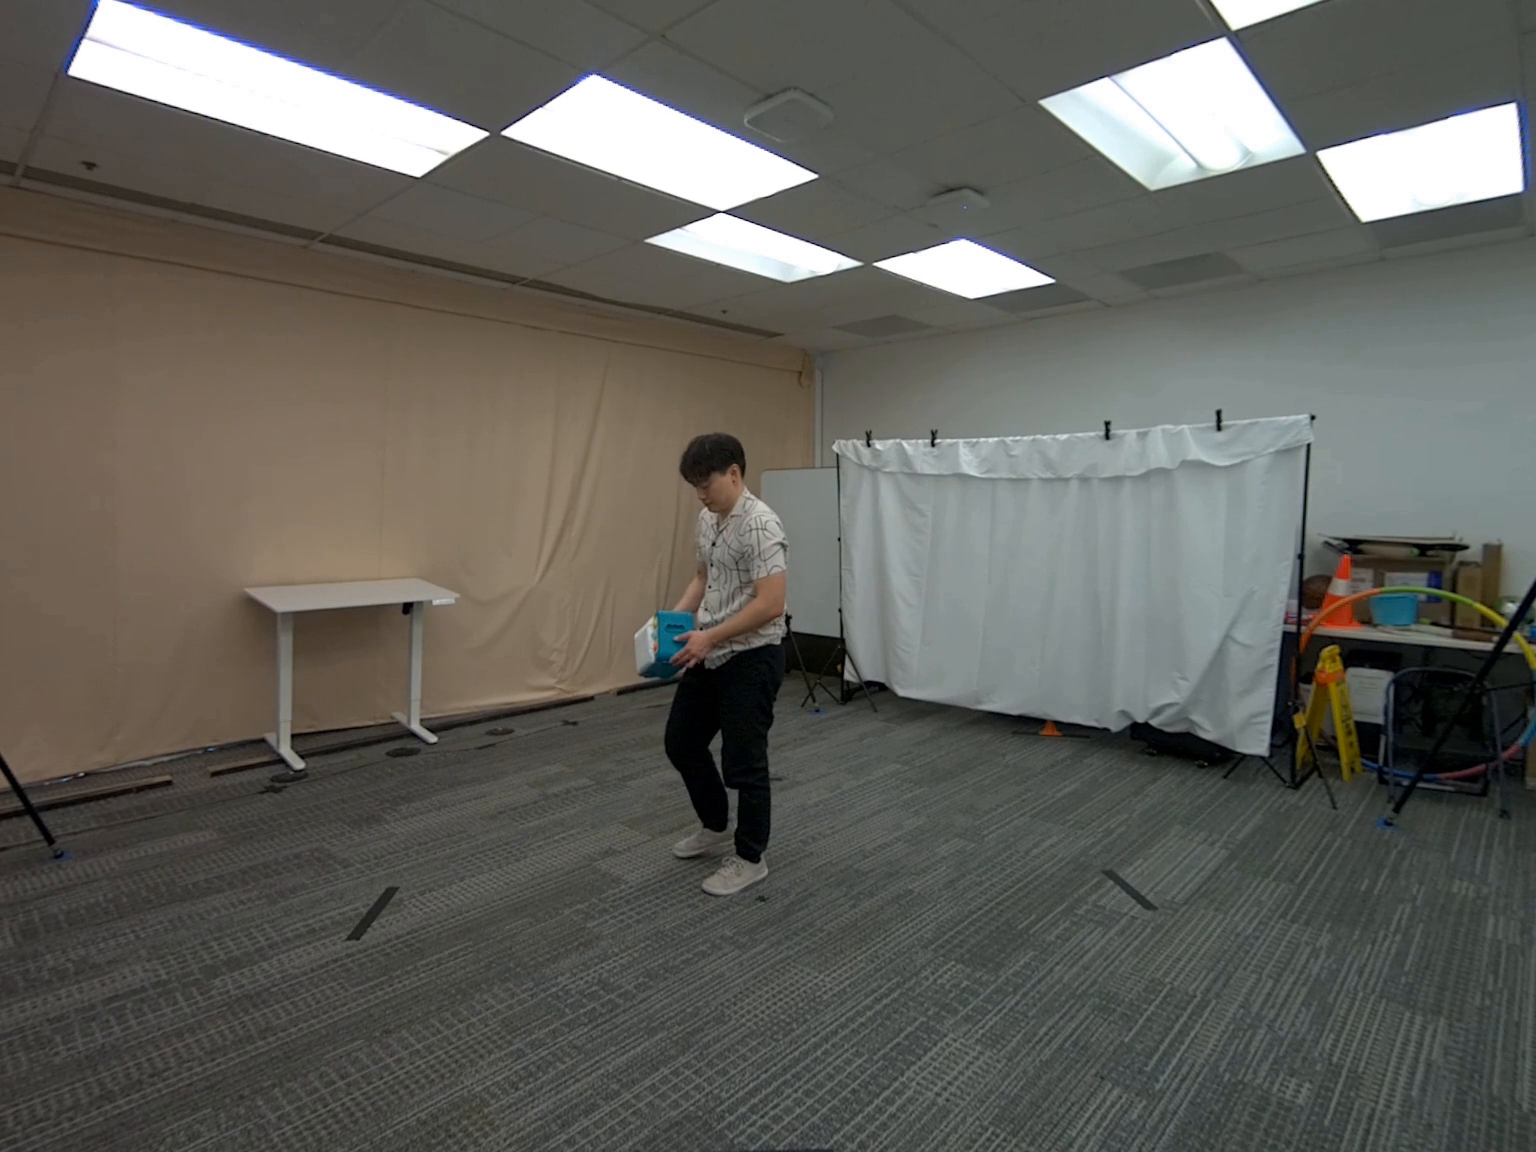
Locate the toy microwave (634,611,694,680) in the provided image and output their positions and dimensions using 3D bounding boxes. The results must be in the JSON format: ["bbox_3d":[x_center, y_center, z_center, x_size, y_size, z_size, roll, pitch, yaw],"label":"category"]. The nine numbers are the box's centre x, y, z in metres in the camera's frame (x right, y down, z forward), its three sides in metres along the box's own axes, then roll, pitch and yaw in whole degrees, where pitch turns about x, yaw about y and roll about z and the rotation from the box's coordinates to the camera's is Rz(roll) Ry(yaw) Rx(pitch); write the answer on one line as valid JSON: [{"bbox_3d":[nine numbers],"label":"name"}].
[{"bbox_3d":[-0.373,0.250,2.989,0.149,0.186,0.289,7,-22,-21],"label":"toy microwave"}]
